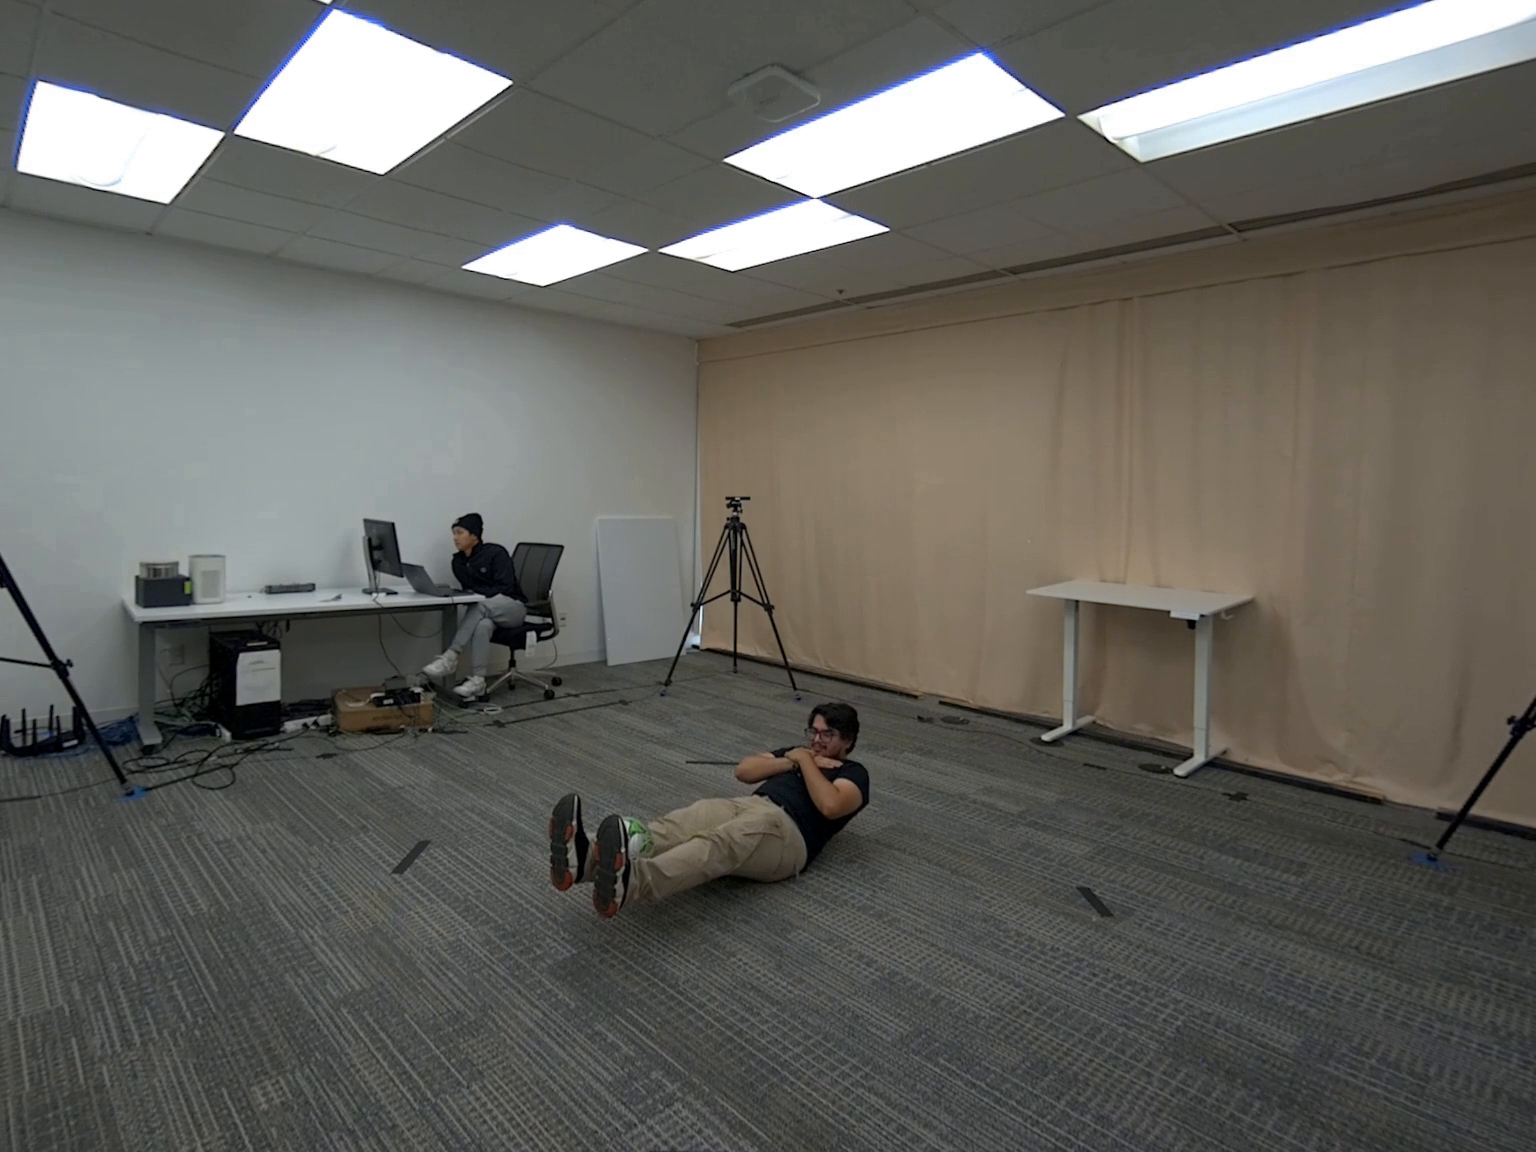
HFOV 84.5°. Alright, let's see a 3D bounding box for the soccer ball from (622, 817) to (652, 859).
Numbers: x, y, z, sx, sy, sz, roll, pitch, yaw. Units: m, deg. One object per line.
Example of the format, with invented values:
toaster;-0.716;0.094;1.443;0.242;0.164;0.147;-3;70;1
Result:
soccer ball;-0.473;0.880;2.700;0.187;0.187;0.188;1;5;-1
